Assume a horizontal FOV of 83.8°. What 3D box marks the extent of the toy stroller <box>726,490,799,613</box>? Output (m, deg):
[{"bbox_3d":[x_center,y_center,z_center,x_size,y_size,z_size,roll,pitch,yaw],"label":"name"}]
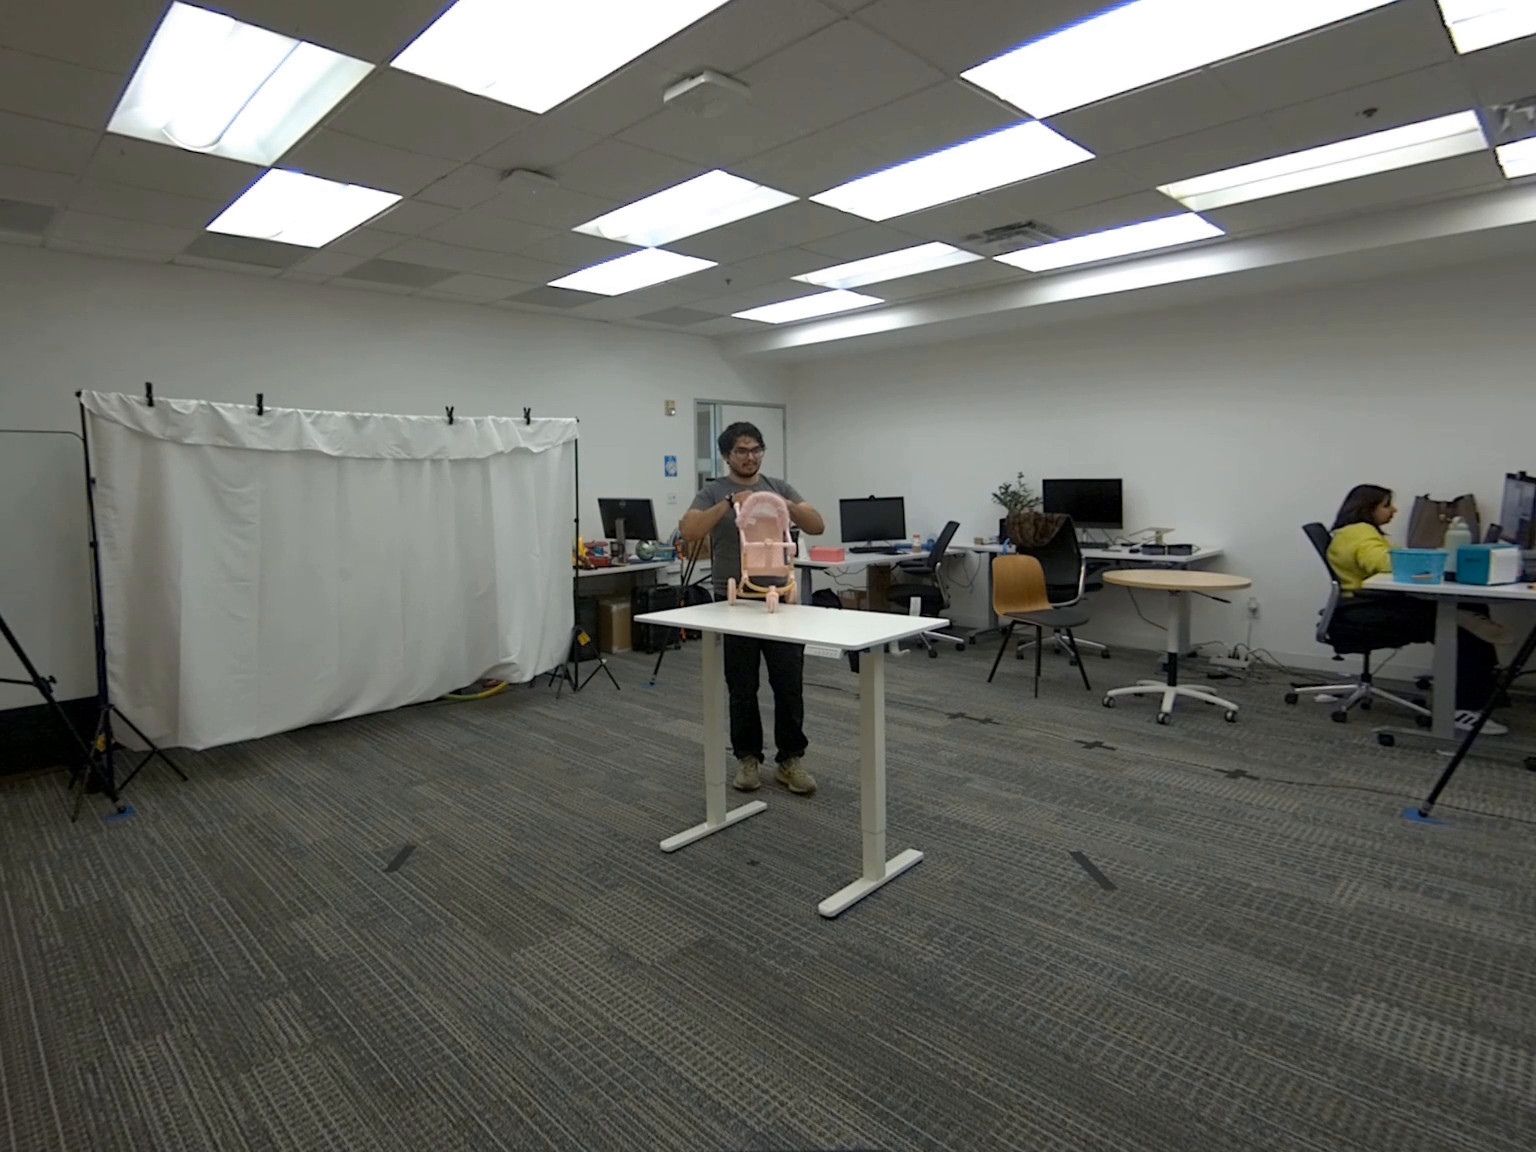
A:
[{"bbox_3d":[-0.015,-0.098,3.438,0.280,0.541,0.339,-1,-11,-5],"label":"toy stroller"}]
